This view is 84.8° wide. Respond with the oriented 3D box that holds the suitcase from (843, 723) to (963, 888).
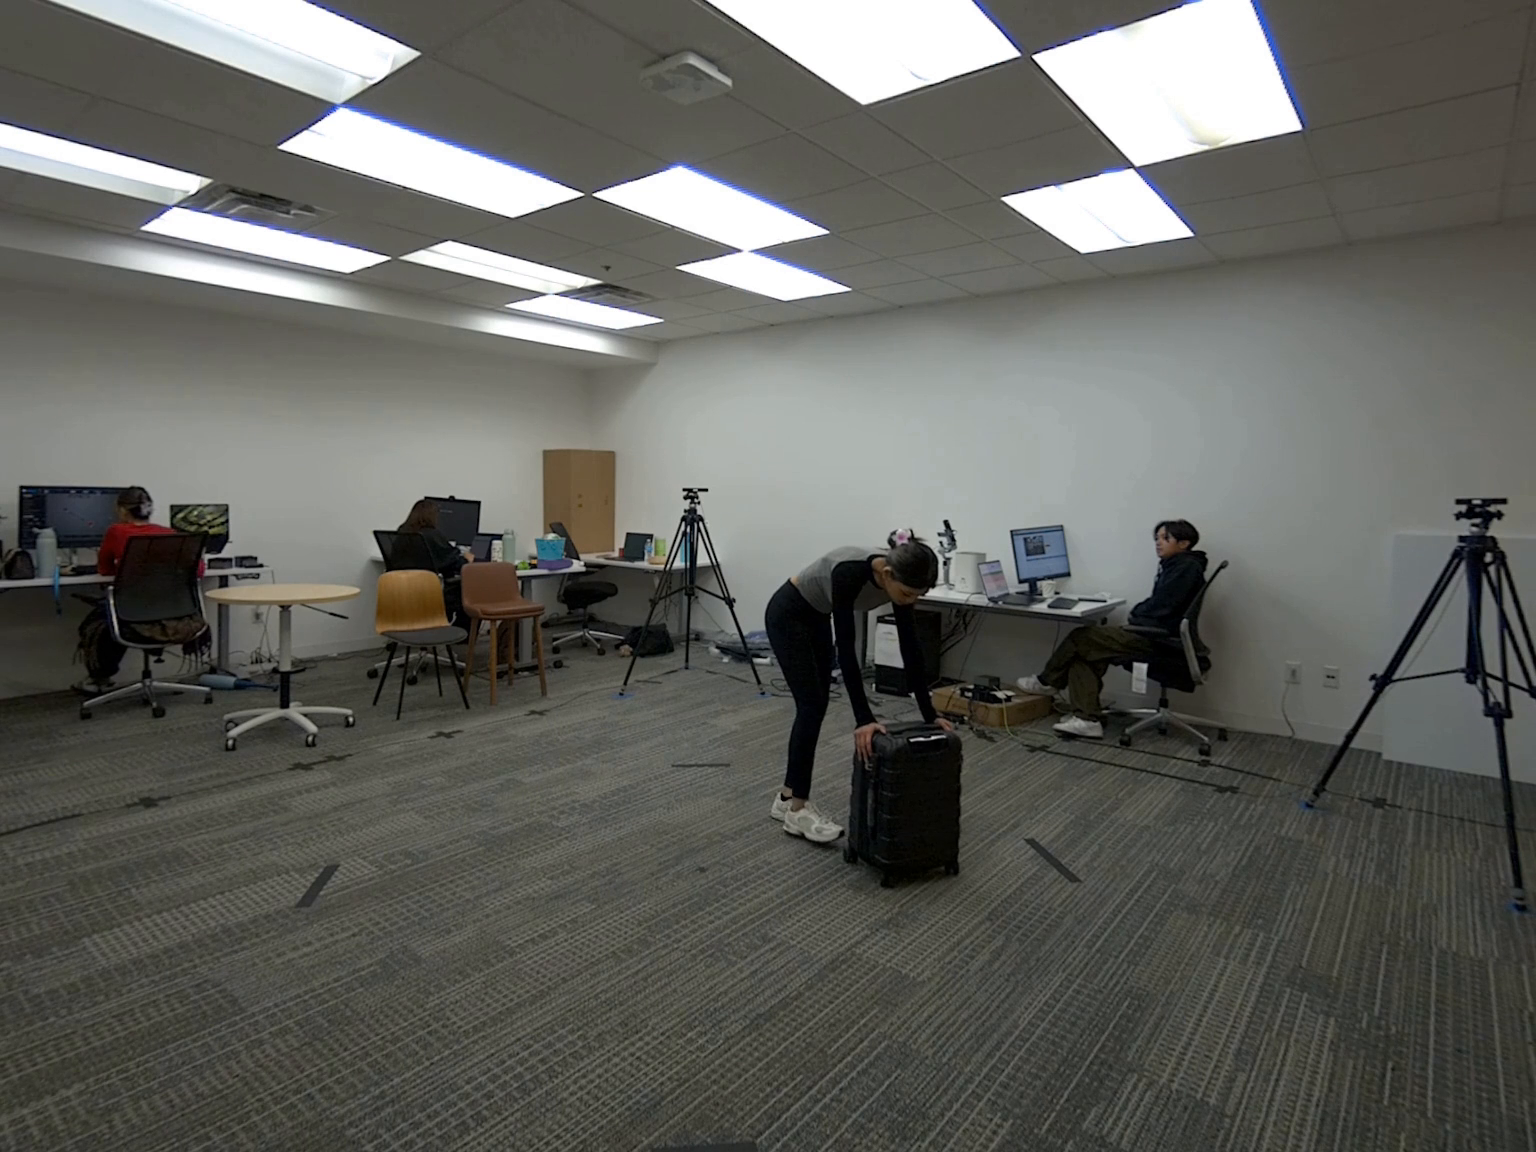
[{"bbox_3d":[0.502,0.807,3.120,0.367,0.548,0.255,-2,4,-25],"label":"suitcase"}]
